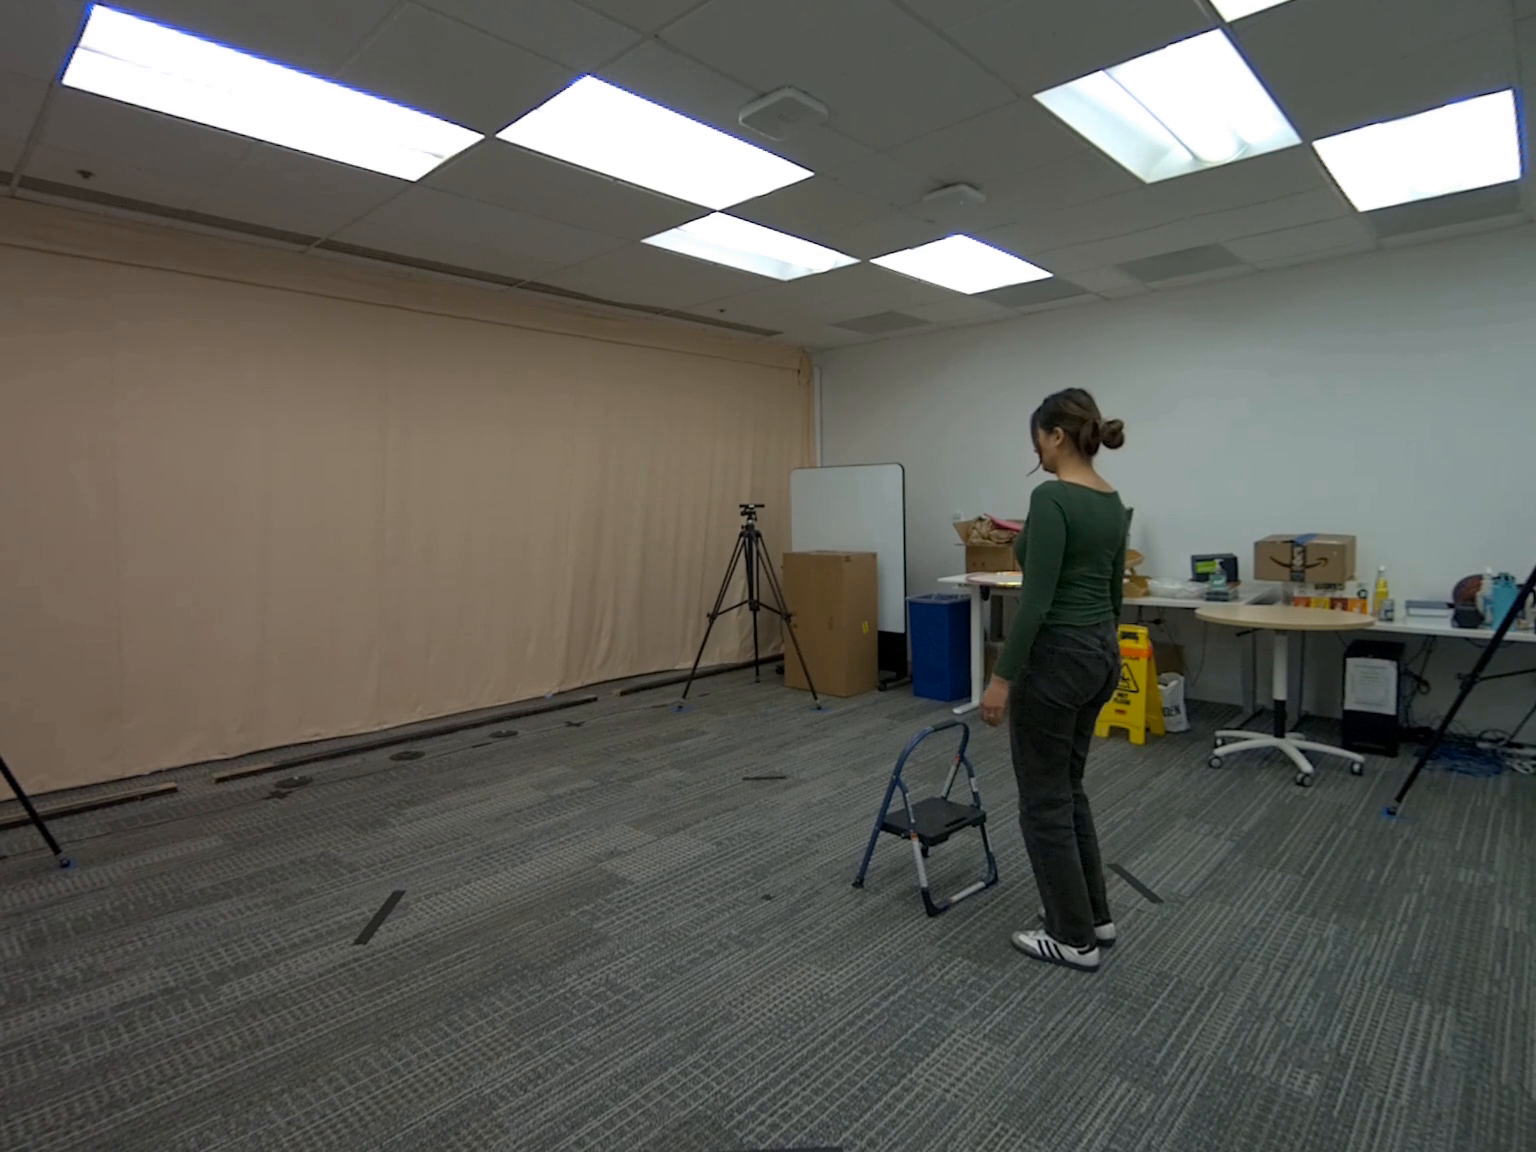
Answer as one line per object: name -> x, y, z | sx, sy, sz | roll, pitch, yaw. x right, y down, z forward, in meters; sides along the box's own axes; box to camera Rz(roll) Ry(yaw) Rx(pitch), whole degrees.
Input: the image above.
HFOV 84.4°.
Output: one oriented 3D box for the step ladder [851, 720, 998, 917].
step ladder -> 0.576, 0.817, 3.055 | 0.417, 0.604, 0.361 | -4, 5, -43
